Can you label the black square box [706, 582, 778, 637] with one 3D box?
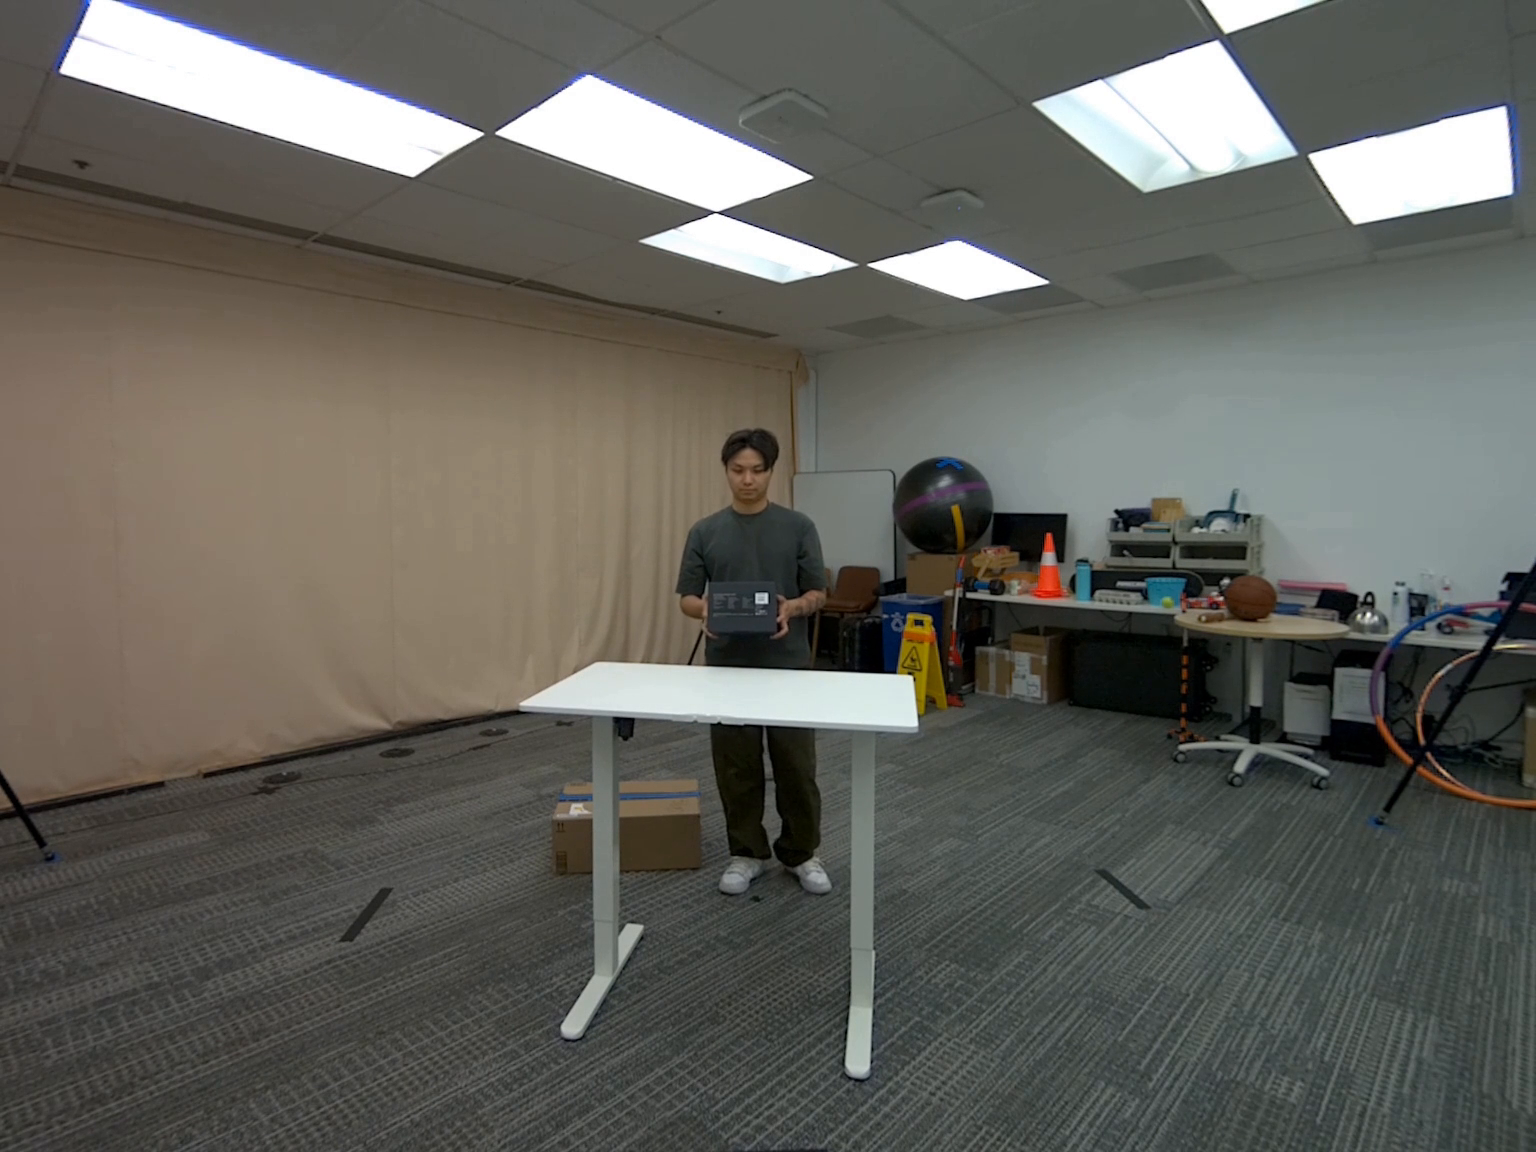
[{"bbox_3d":[-0.080,0.104,2.760,0.217,0.156,0.227,-1,-5,-1],"label":"black square box"}]
